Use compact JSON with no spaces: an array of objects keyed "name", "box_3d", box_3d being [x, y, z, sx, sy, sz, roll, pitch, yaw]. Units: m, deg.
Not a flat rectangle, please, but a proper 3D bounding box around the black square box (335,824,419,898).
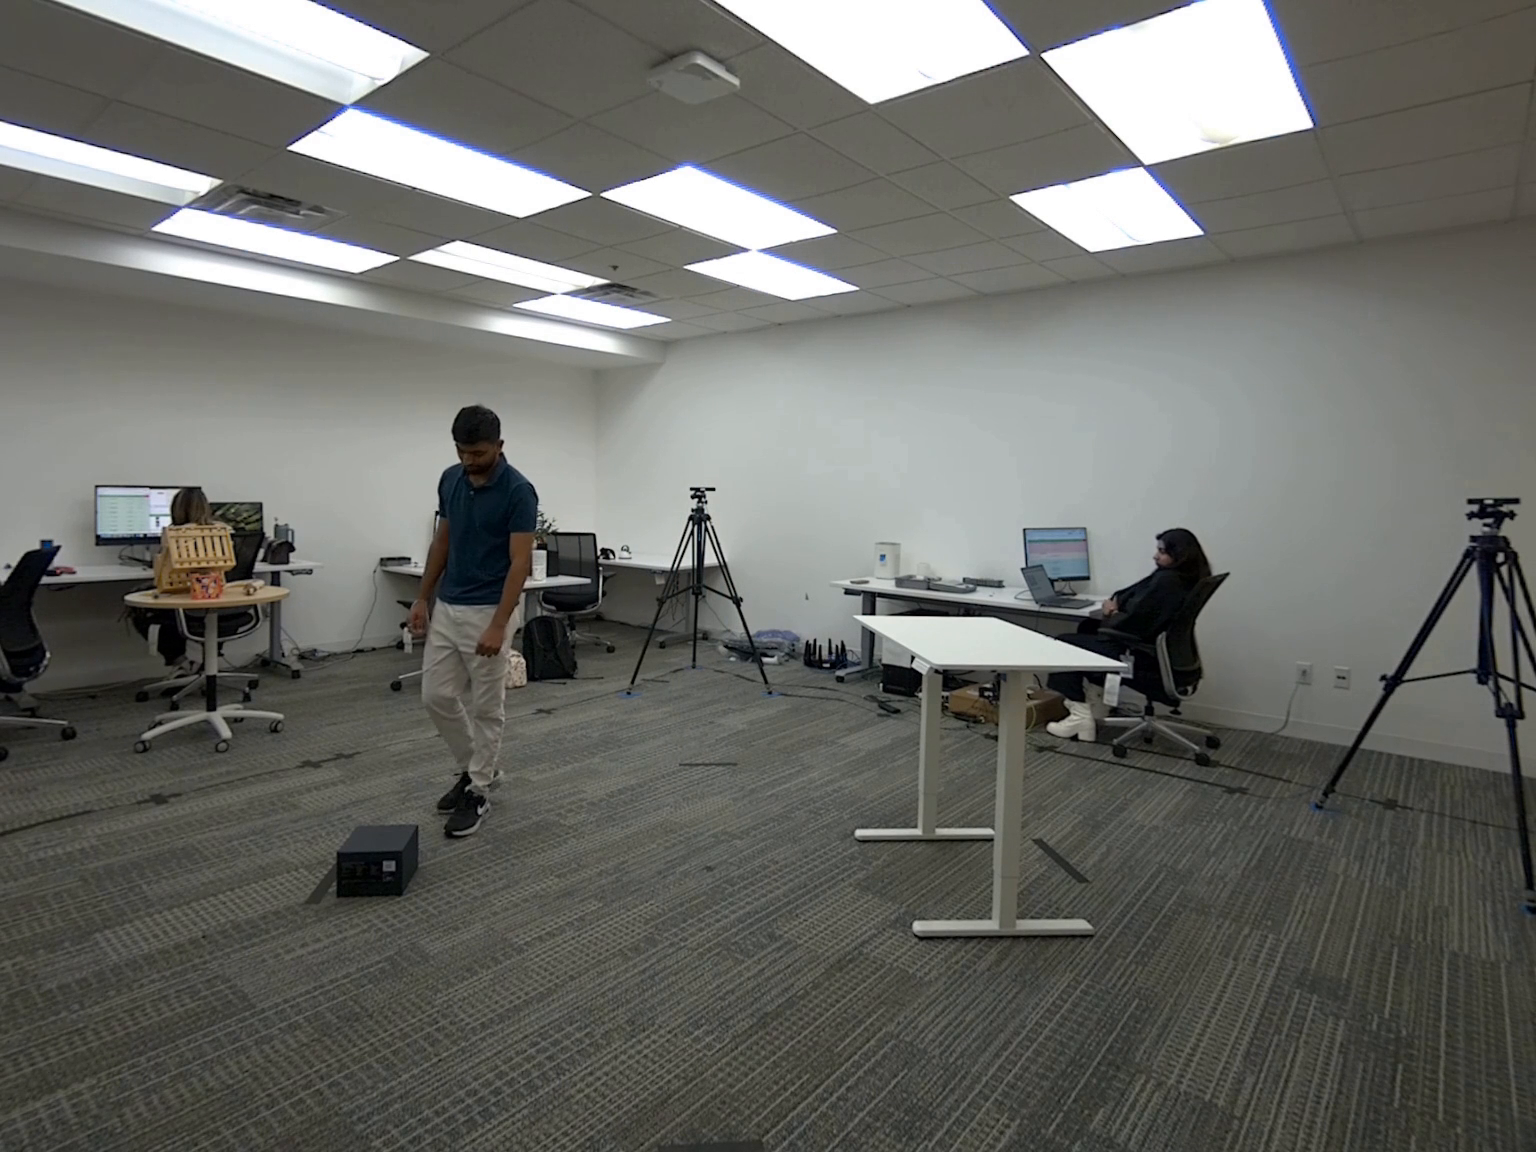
[{"name":"black square box","box_3d":[-1.368,0.979,2.958,0.215,0.155,0.231,1,5,-9]}]
